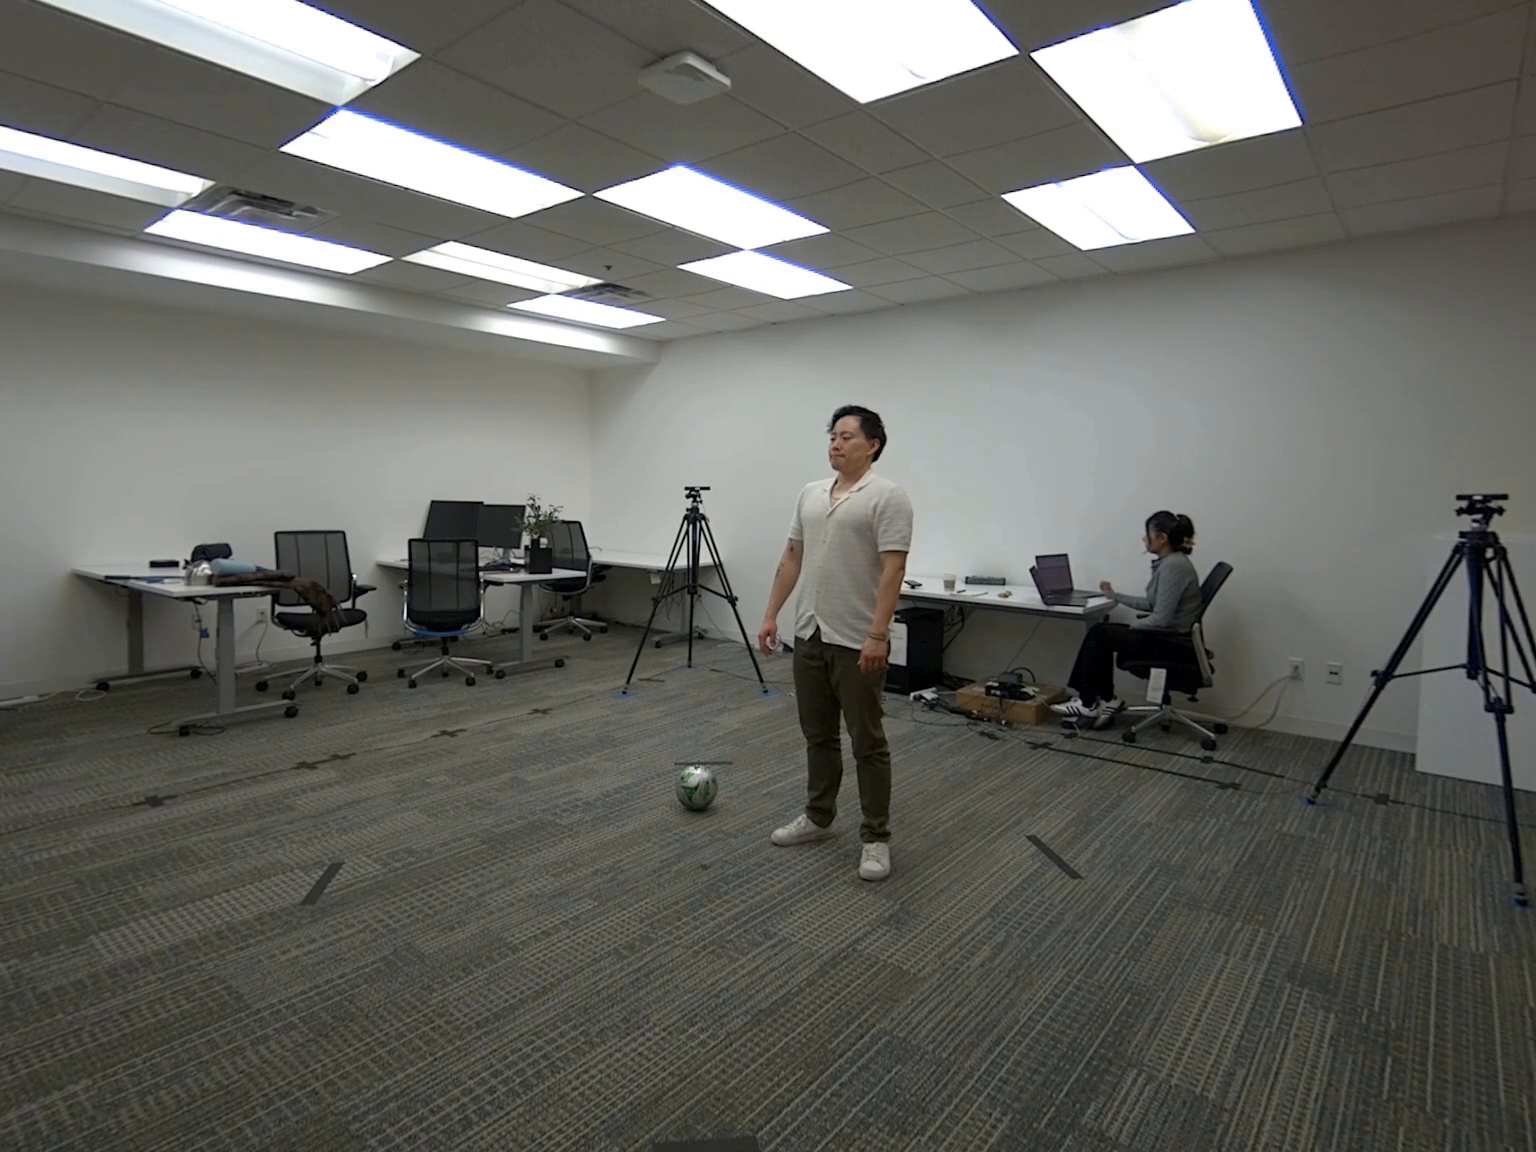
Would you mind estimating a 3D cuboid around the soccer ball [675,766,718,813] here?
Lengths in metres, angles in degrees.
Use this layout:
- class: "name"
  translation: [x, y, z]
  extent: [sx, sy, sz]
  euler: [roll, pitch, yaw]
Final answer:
- class: "soccer ball"
  translation: [-0.321, 0.911, 3.684]
  extent: [0.187, 0.187, 0.188]
  euler: [0, 4, -2]
